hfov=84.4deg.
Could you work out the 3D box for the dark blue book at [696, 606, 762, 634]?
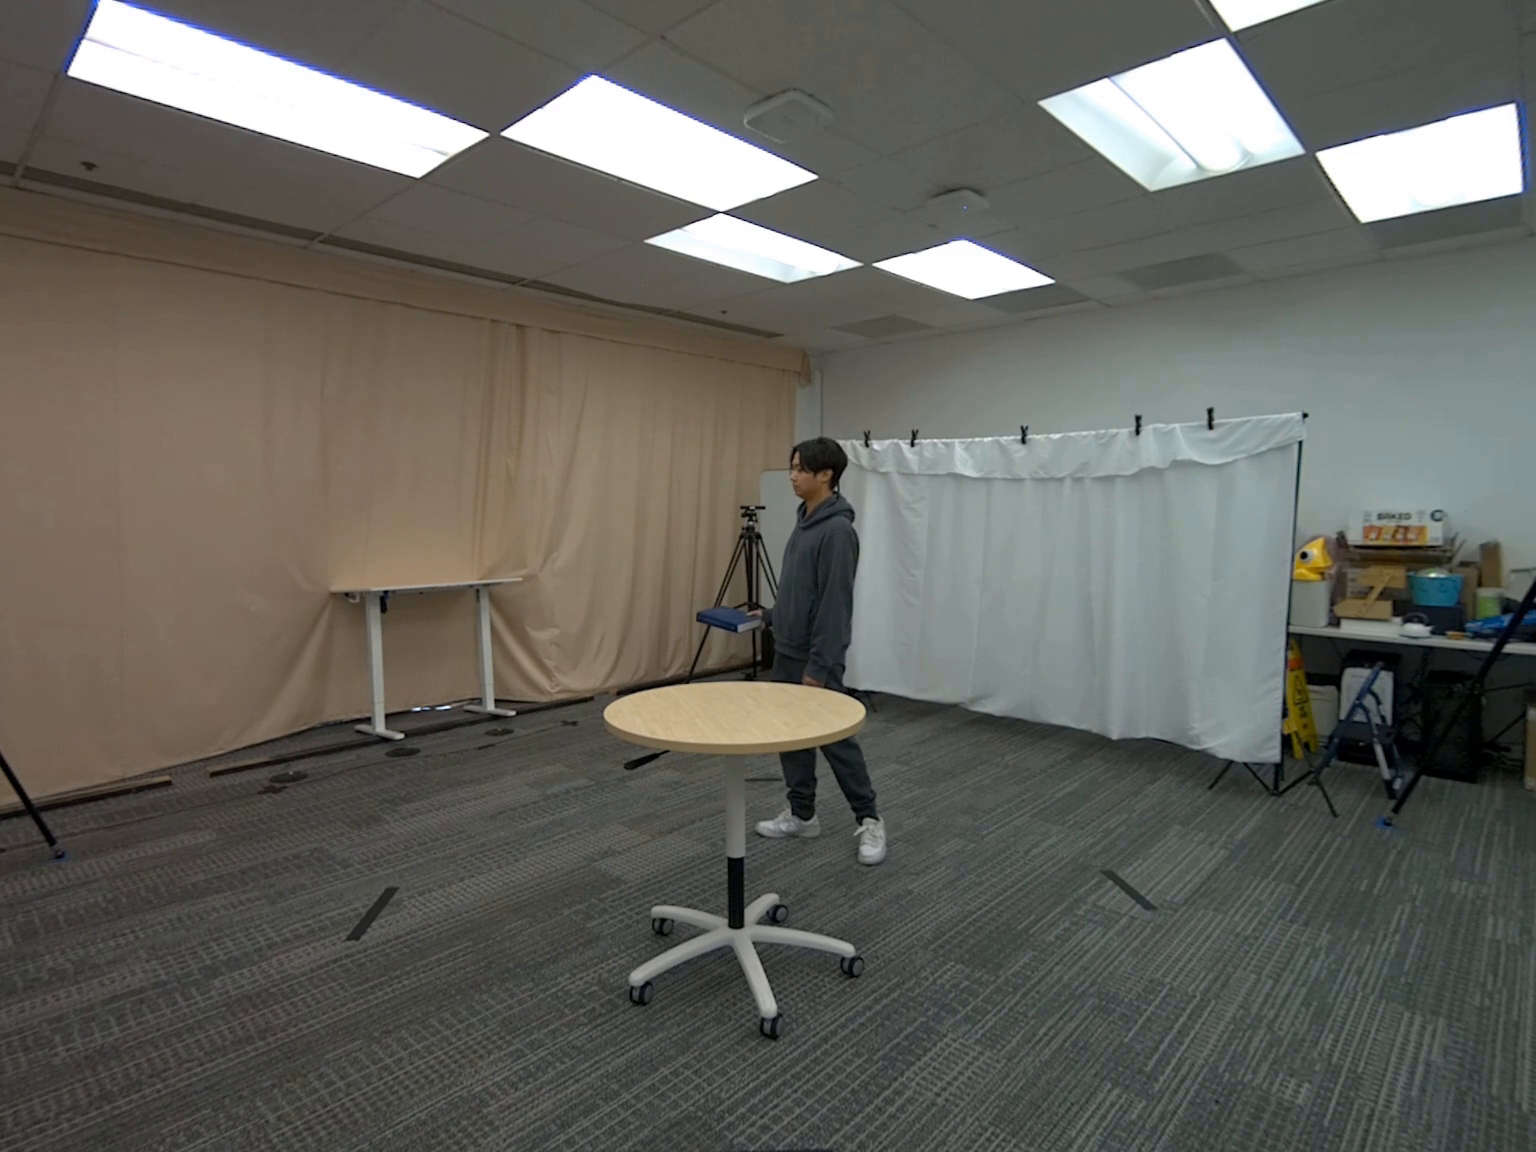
[{"bbox_3d":[-0.166,0.191,3.653,0.254,0.045,0.159,12,17,41],"label":"dark blue book"}]
